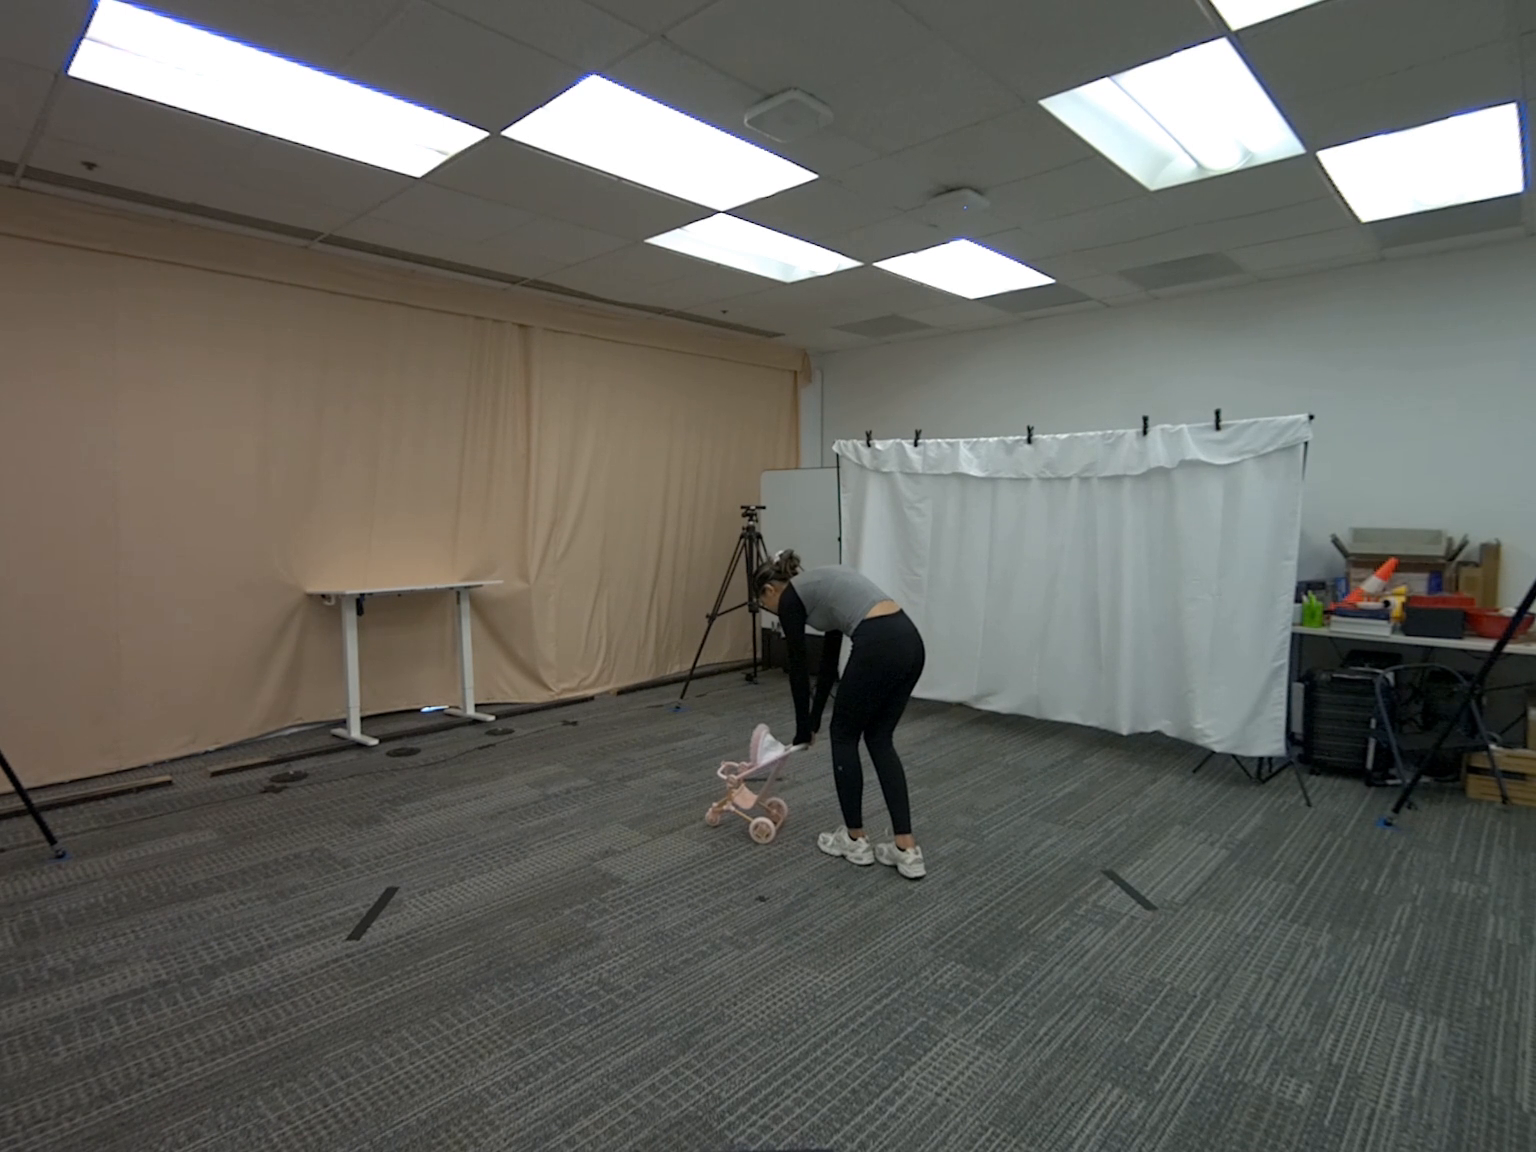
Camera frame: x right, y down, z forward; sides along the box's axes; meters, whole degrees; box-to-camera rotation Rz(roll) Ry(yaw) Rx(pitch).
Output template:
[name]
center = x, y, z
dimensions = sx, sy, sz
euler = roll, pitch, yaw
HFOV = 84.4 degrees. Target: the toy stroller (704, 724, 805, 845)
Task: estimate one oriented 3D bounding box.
[toy stroller]
center = -0.049, 0.869, 3.602
dimensions = 0.349, 0.533, 0.276
euler = 19, 8, 19
